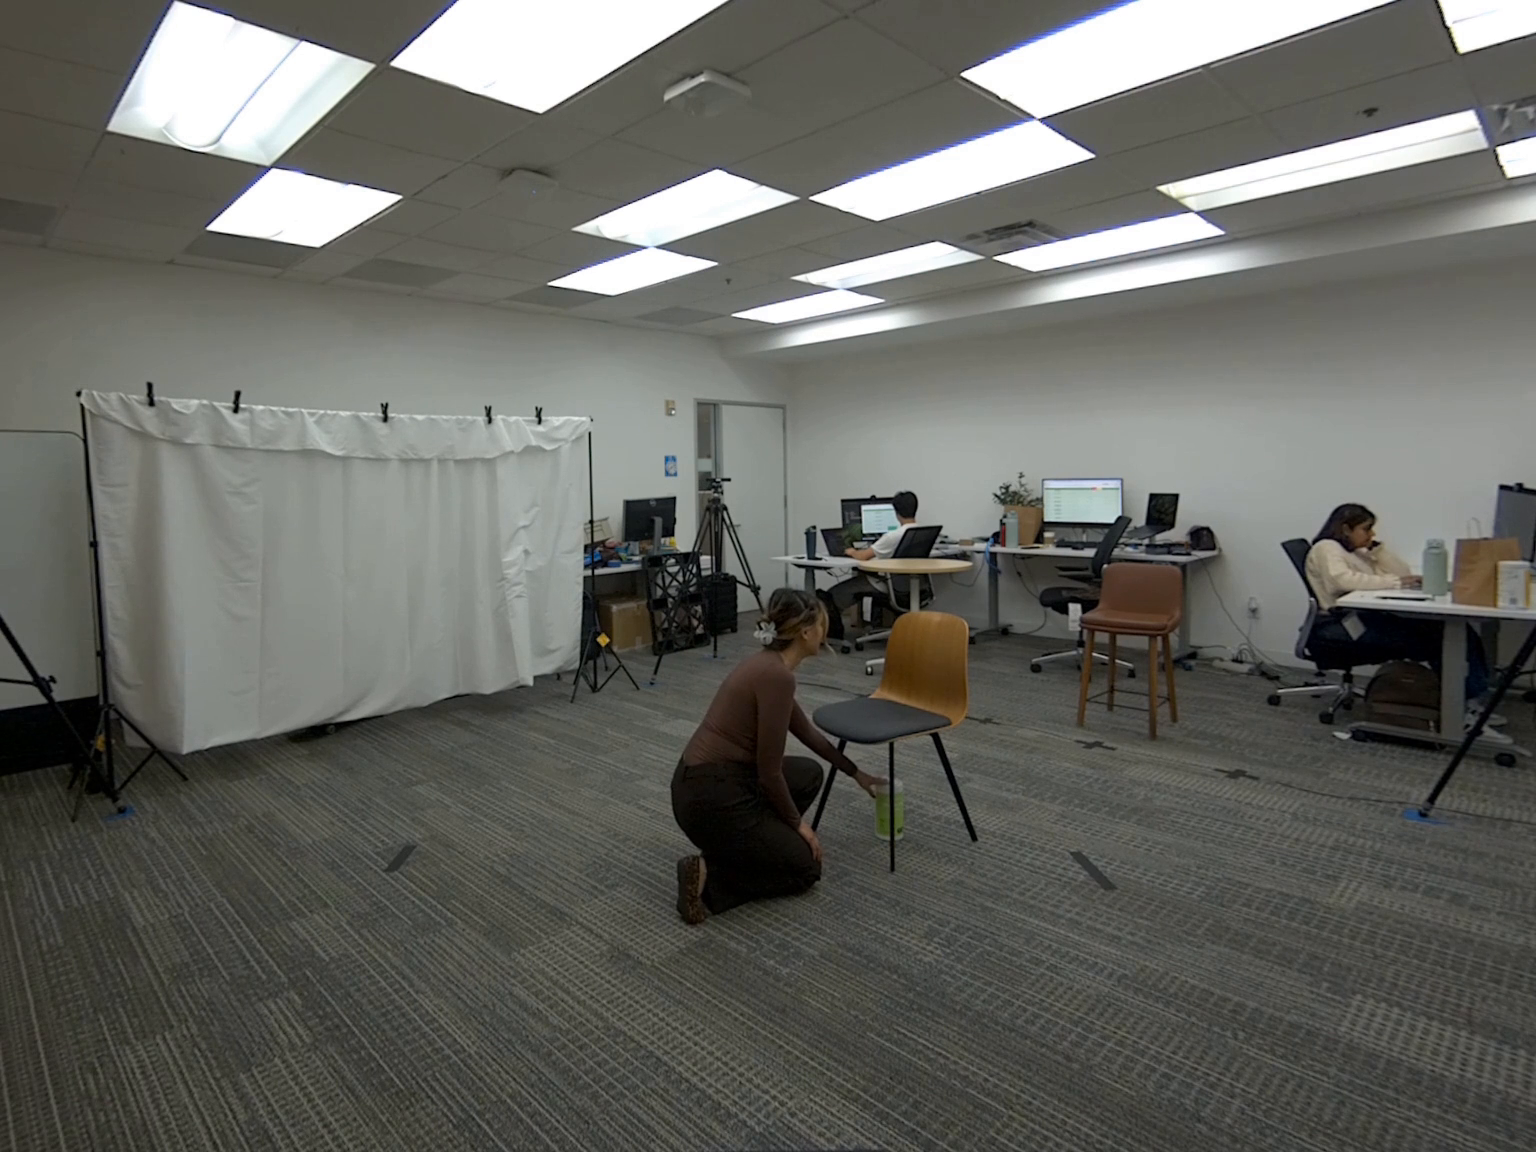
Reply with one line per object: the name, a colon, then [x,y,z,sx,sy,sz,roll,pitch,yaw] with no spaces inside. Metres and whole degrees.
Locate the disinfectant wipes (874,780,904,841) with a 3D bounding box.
disinfectant wipes: [0.477,0.911,3.302,0.118,0.216,0.118,-3,5,-1]
